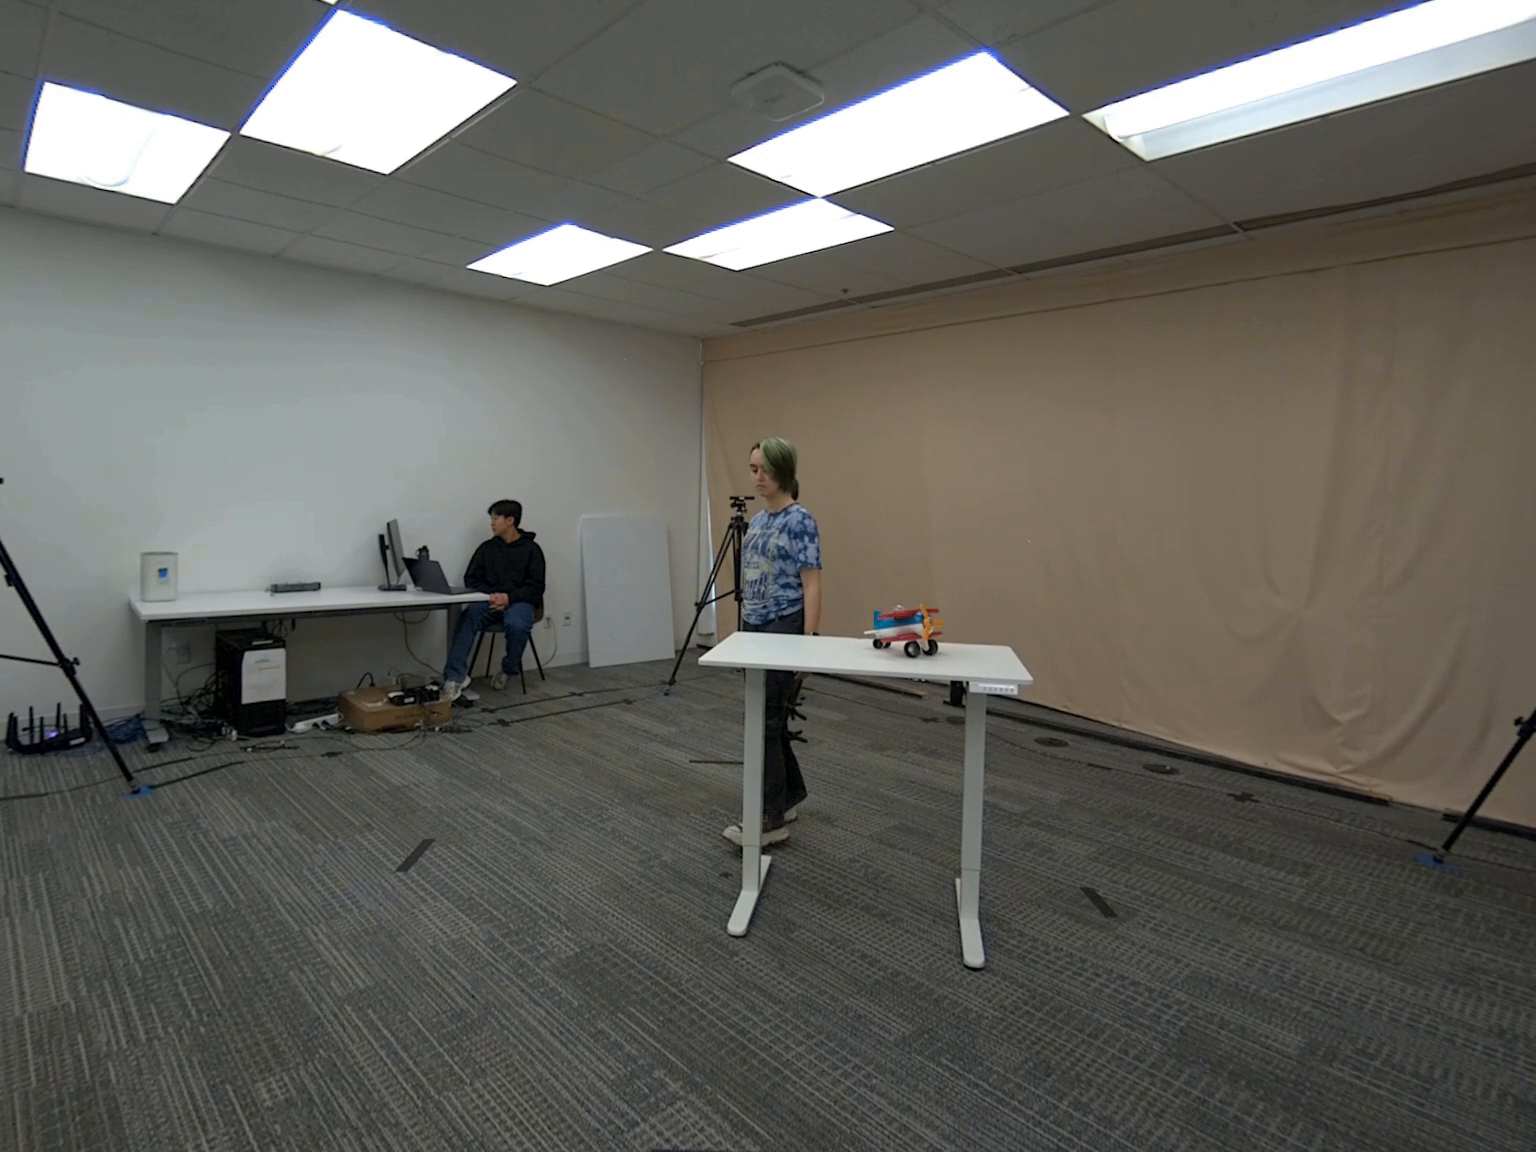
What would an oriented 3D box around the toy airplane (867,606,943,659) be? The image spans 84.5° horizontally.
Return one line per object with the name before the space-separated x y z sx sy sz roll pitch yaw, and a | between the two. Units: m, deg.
toy airplane | 0.442 0.186 2.826 0.264 0.156 0.247 3 4 24
